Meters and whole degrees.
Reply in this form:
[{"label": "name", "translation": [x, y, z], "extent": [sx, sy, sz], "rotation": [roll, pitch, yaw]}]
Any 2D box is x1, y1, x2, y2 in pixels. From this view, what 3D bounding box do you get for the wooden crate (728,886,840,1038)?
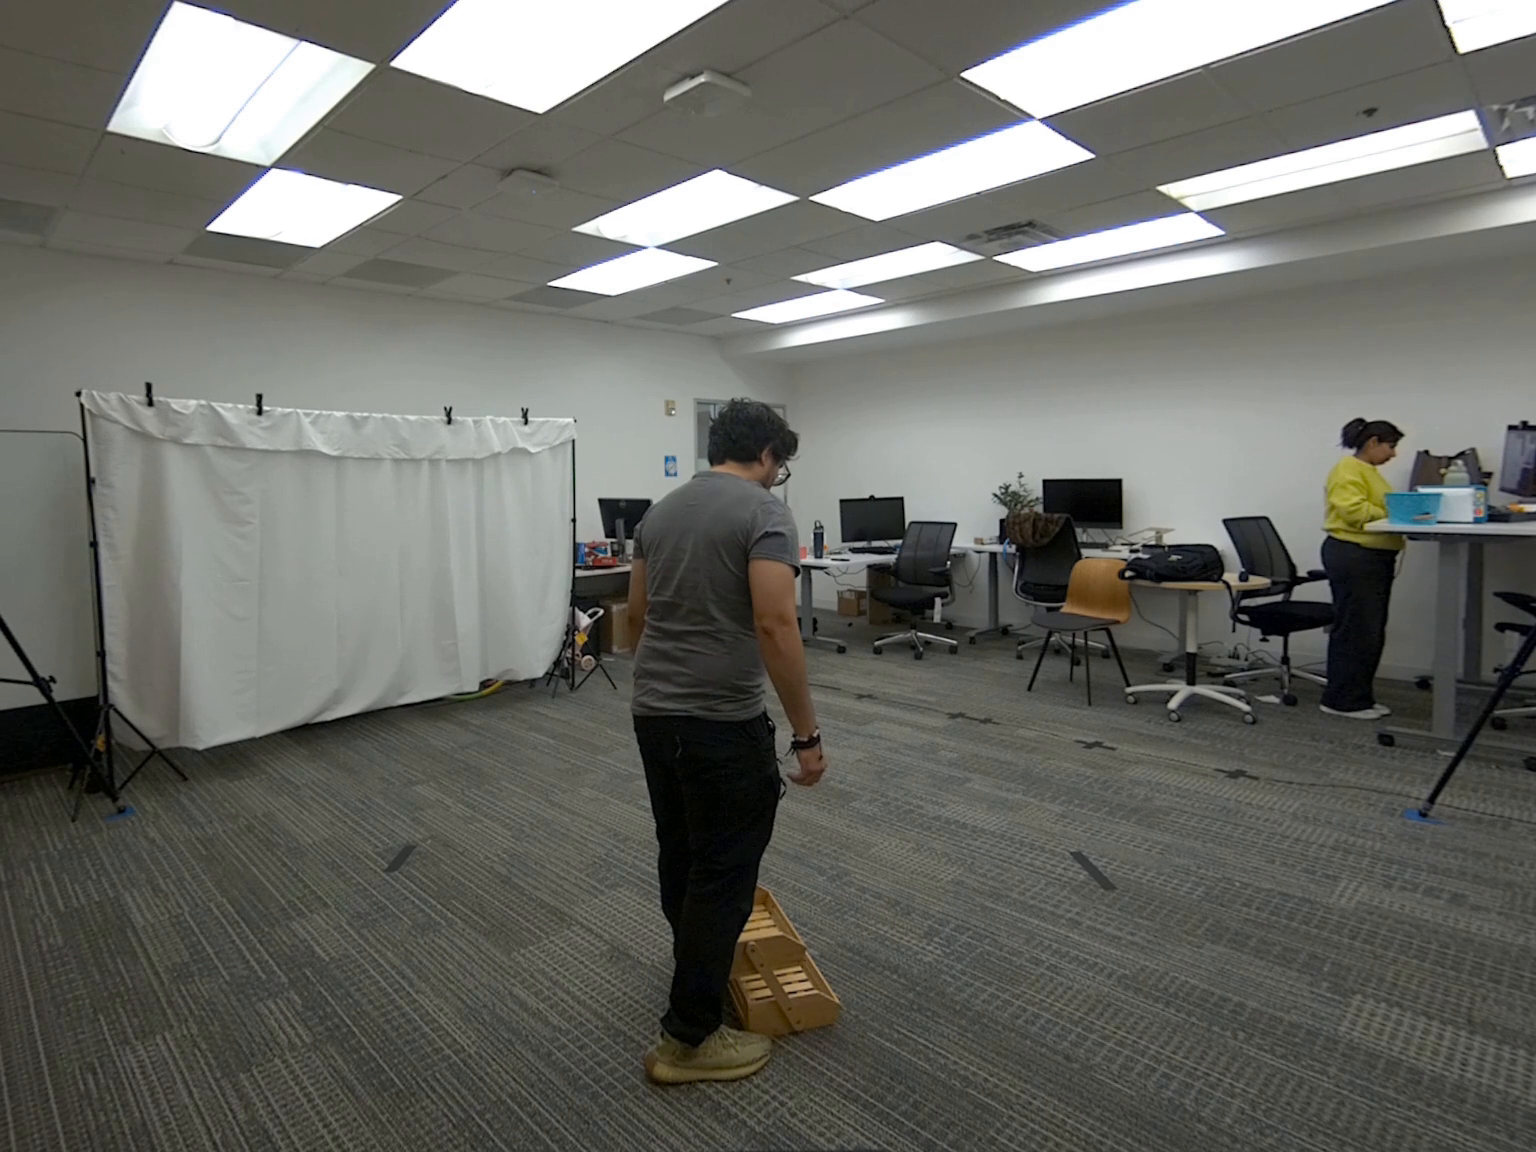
[{"label": "wooden crate", "translation": [0.006, 1.004, 2.287], "extent": [0.298, 0.272, 0.331], "rotation": [-4, 6, -16]}]
